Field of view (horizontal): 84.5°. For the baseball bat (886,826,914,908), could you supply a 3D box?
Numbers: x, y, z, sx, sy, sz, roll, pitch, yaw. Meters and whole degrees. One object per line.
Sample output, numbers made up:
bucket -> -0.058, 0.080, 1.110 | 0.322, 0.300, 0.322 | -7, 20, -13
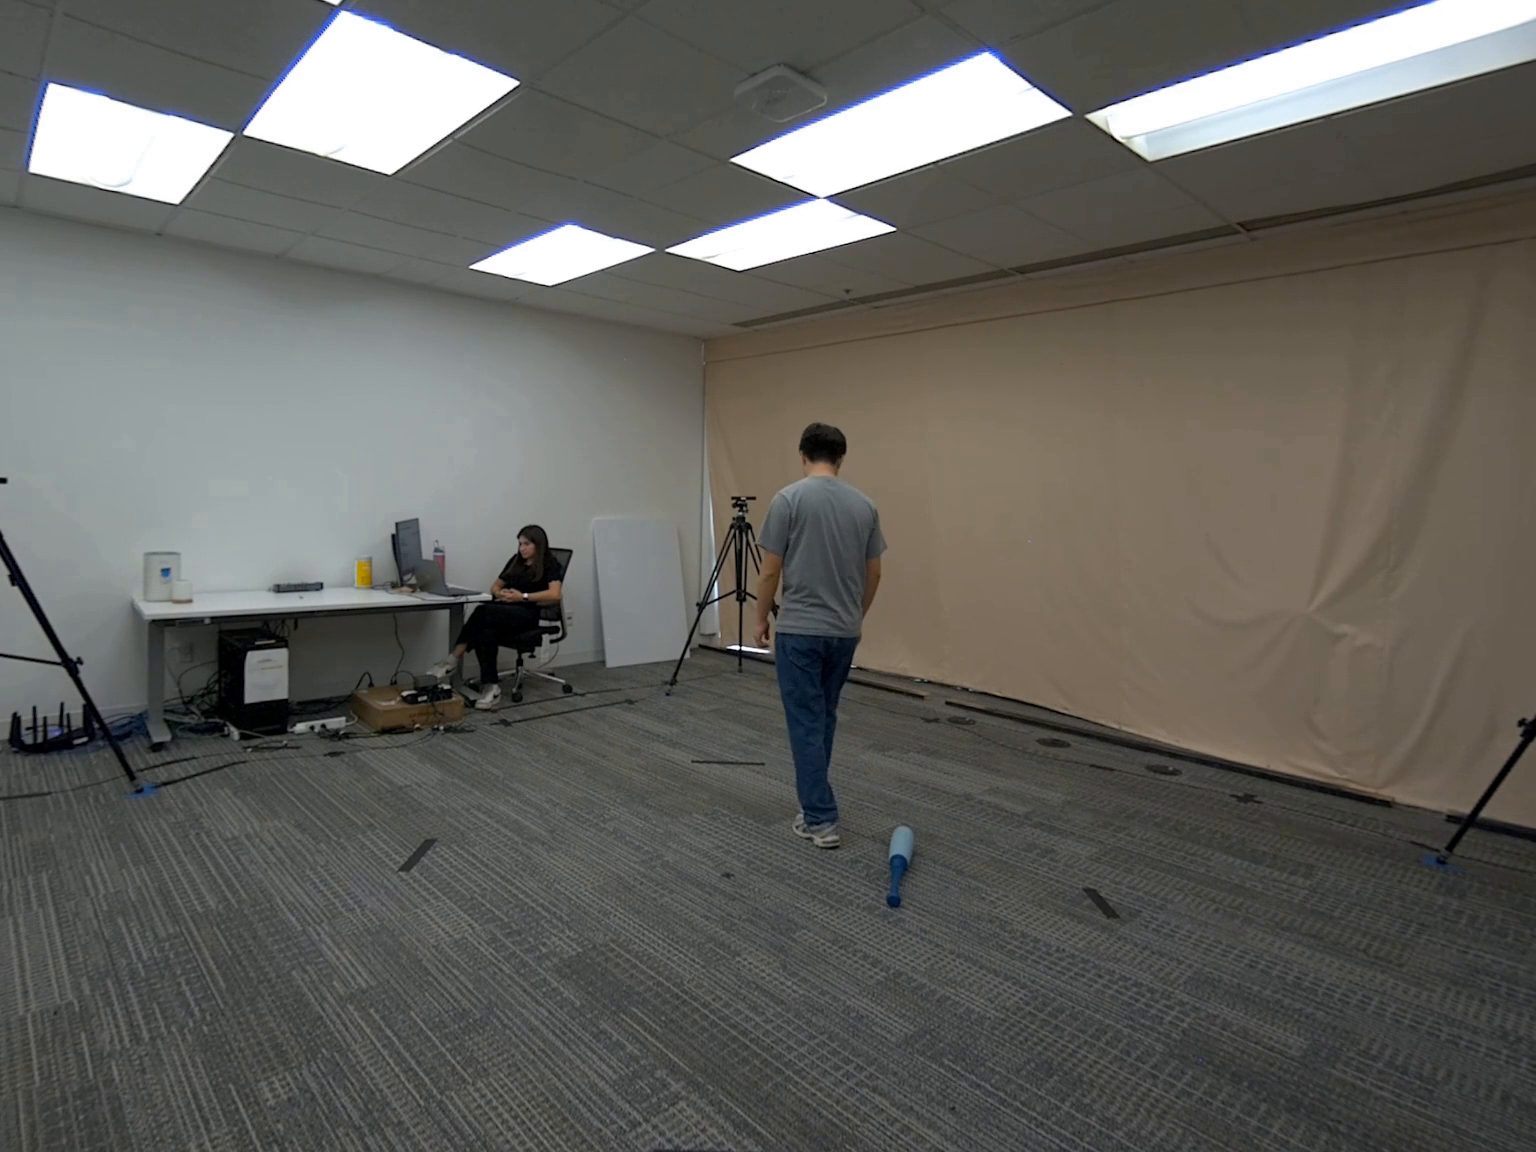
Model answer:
baseball bat -> 0.480, 1.082, 3.140 | 0.090, 0.088, 0.540 | 2, 8, 12
